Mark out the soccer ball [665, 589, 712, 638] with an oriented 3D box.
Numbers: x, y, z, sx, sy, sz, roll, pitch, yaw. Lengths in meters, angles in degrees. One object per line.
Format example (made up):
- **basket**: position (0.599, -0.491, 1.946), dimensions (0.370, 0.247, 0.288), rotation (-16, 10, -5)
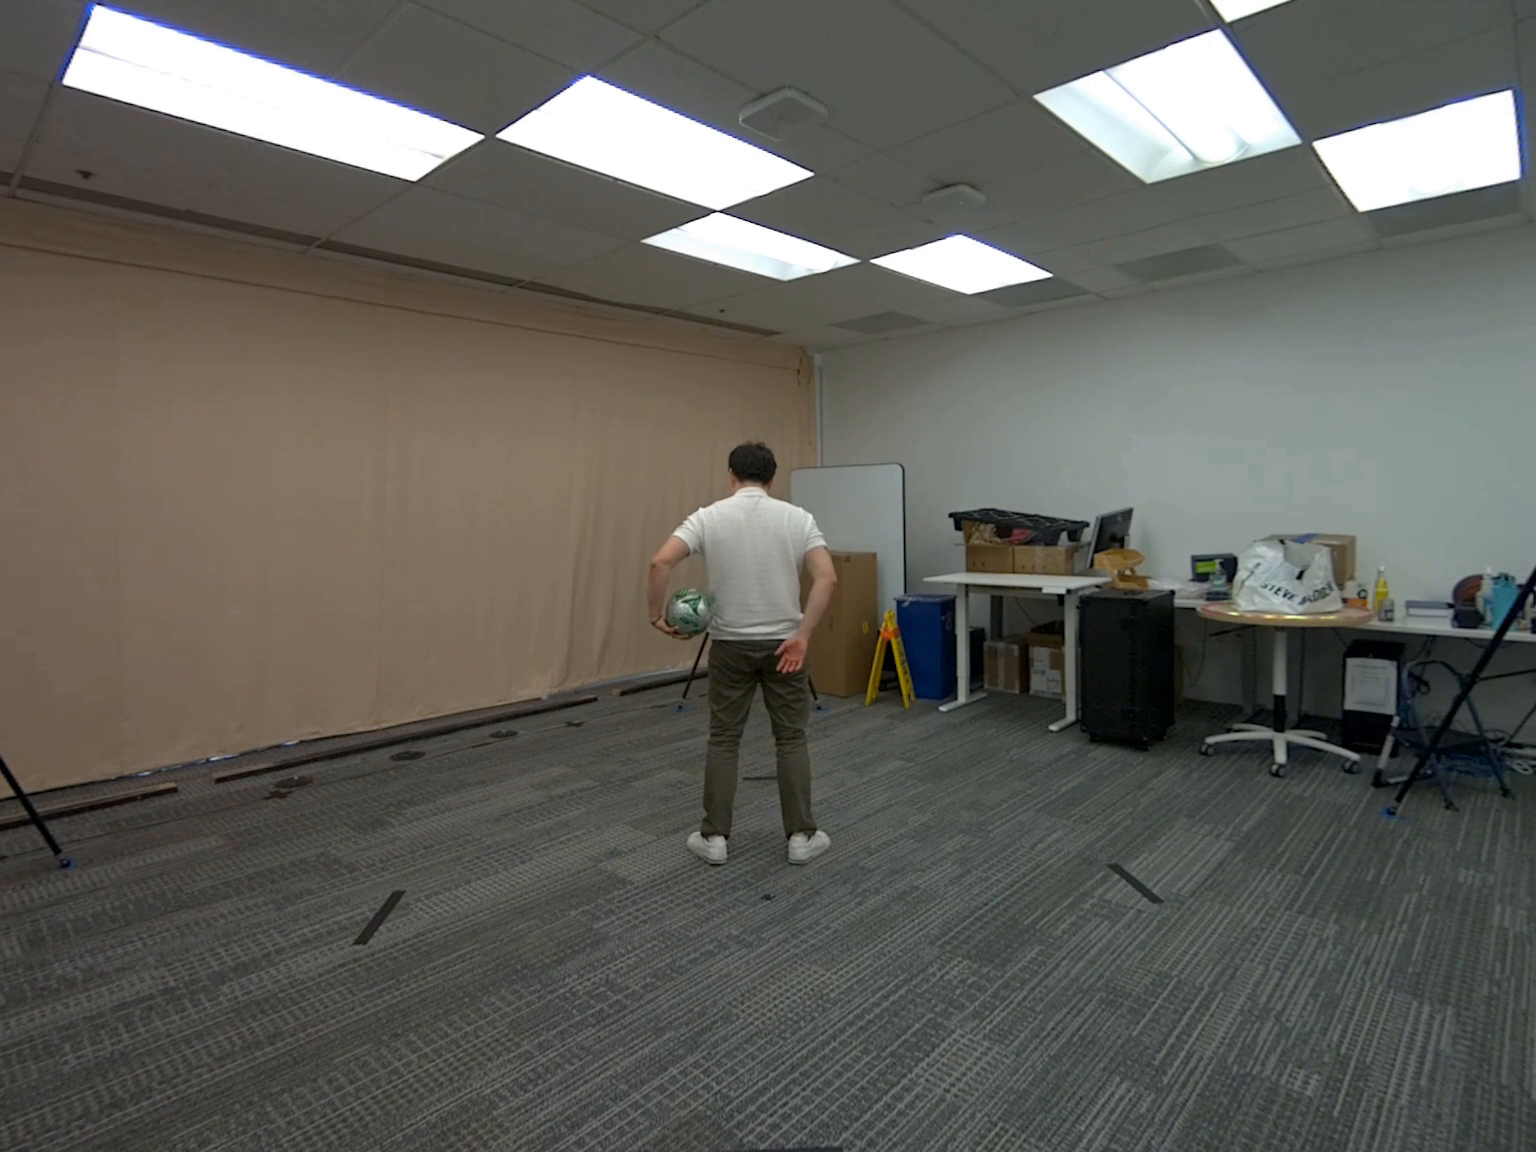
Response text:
- **soccer ball**: position (-0.295, 0.144, 3.242), dimensions (0.187, 0.187, 0.188), rotation (-1, 4, -2)
